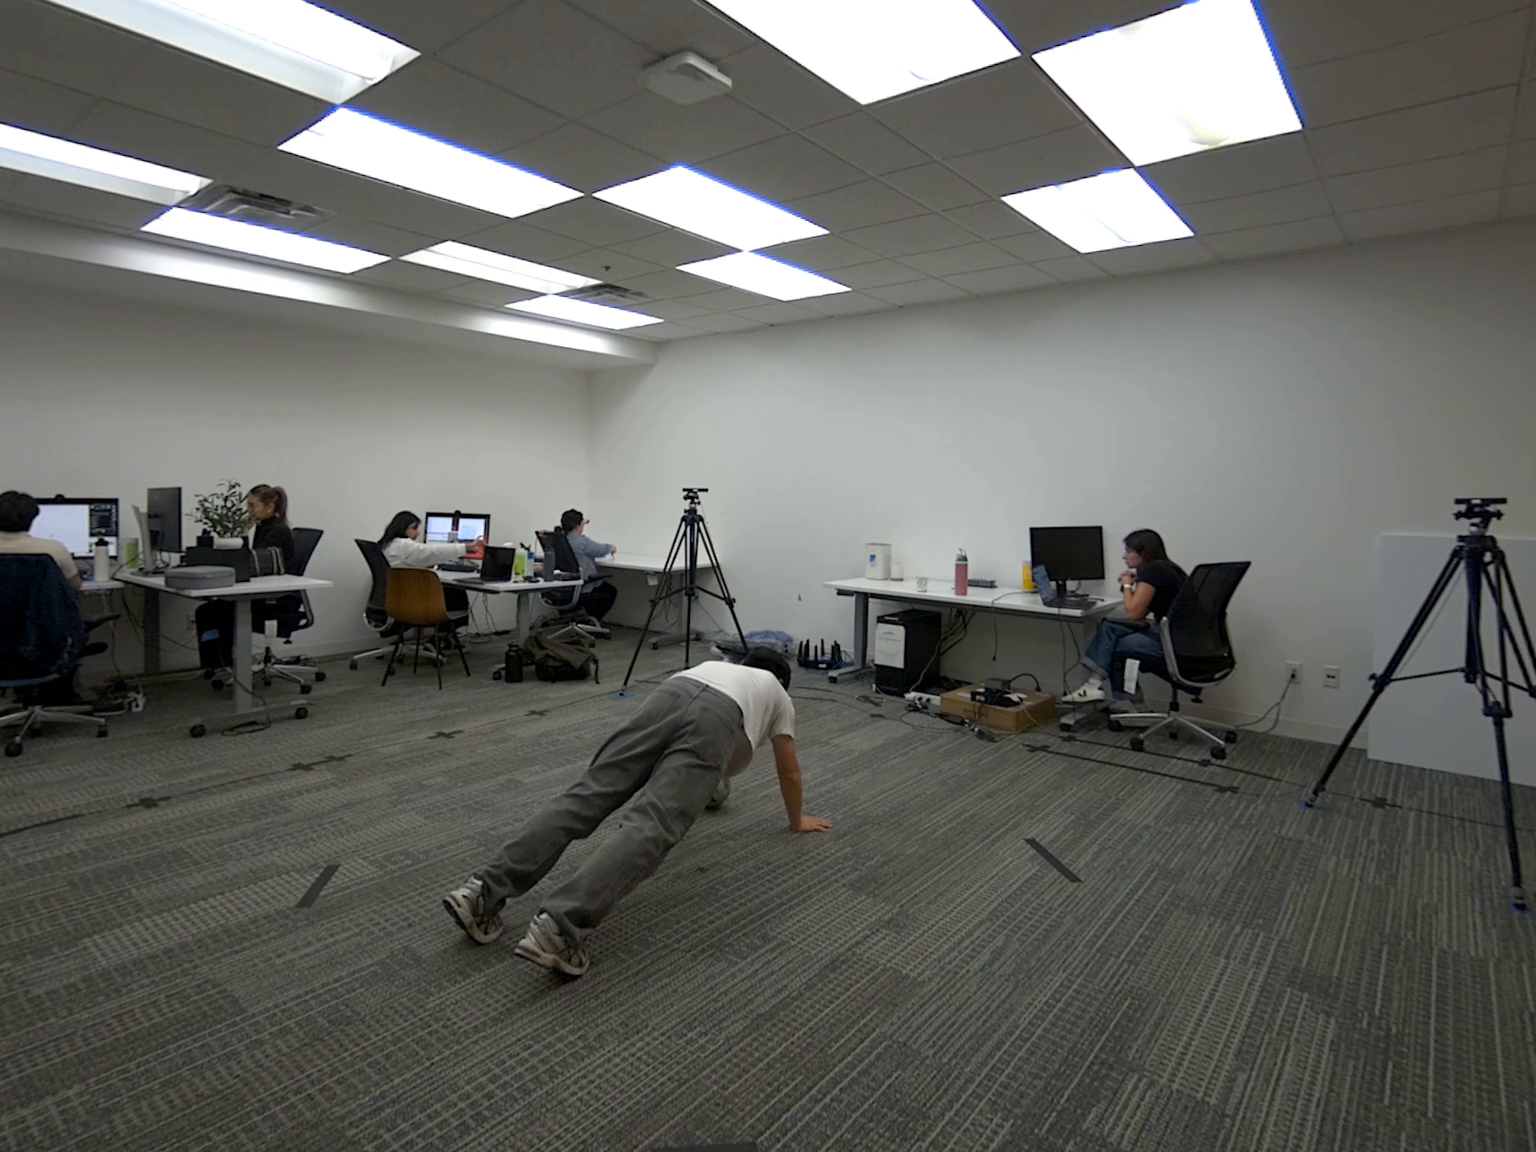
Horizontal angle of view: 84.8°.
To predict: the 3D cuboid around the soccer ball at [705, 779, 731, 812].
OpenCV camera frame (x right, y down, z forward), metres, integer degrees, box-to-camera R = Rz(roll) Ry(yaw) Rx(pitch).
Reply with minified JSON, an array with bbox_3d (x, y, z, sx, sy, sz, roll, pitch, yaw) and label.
[{"bbox_3d":[-0.246,0.904,3.722,0.187,0.187,0.188,1,4,-2],"label":"soccer ball"}]
